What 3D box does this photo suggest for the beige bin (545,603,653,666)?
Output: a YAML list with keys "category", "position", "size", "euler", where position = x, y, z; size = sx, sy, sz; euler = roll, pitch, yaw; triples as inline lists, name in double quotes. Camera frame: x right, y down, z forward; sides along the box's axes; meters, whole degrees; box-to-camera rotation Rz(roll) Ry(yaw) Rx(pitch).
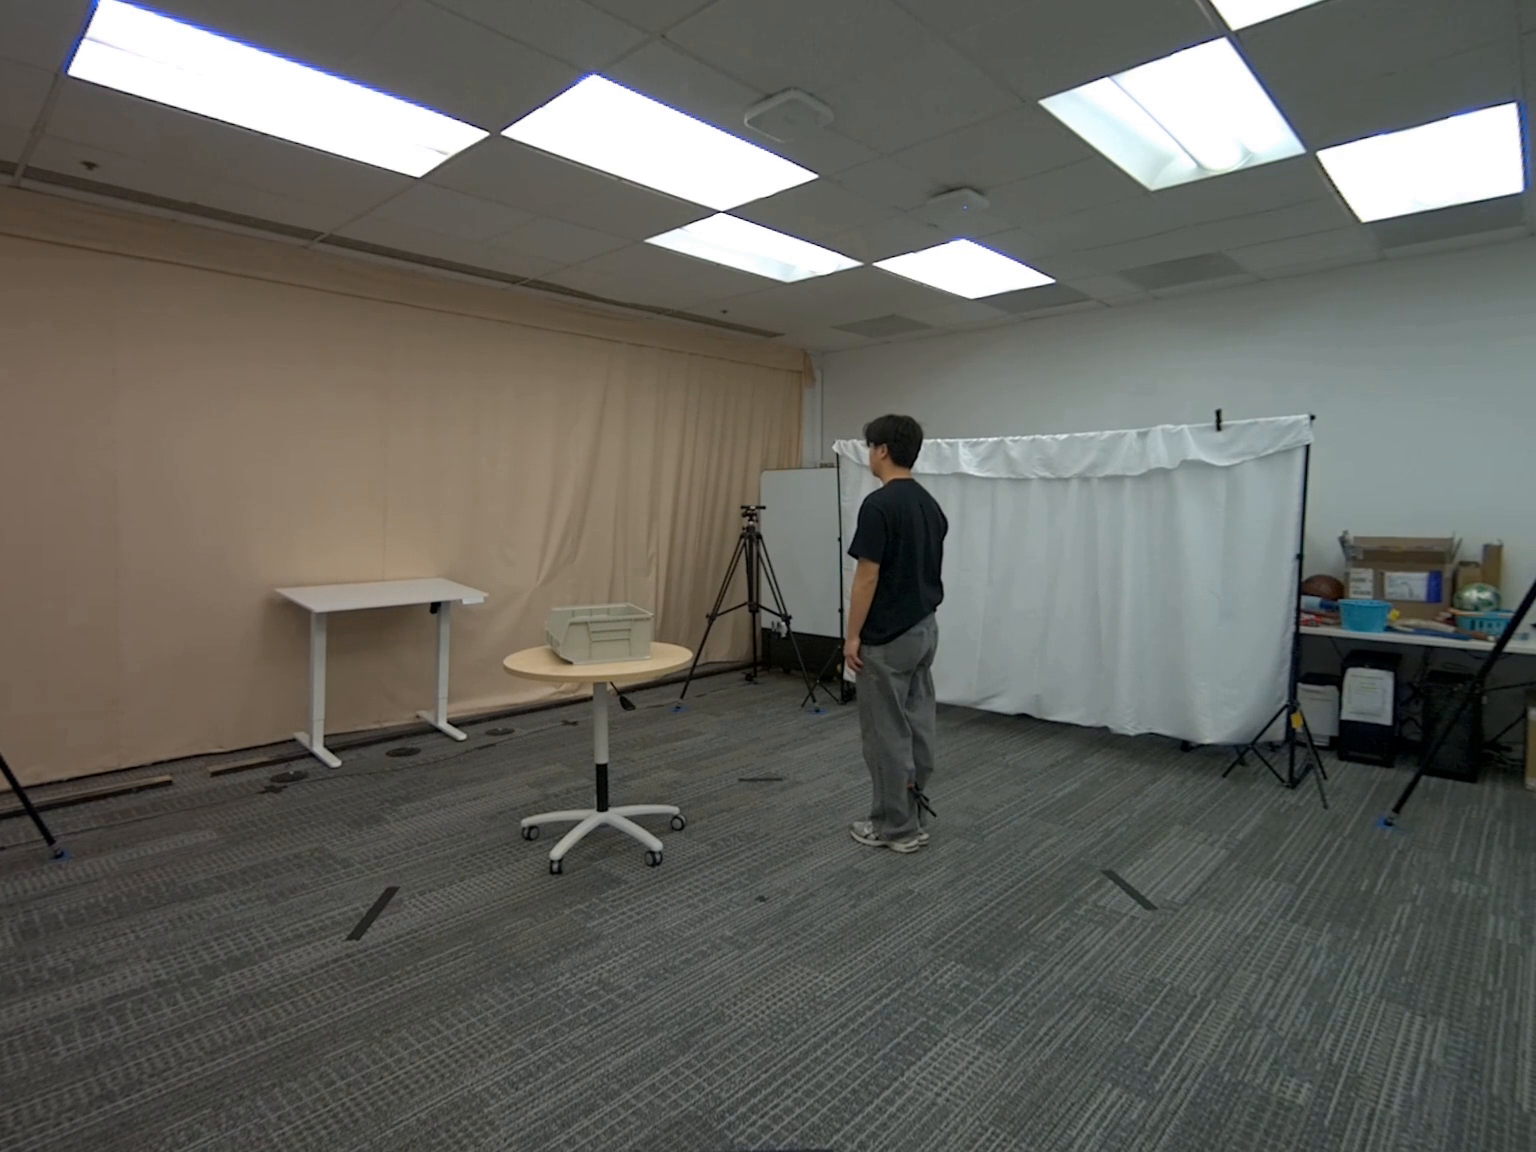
- category: "beige bin"
  position: [-0.713, 0.235, 3.500]
  size: [0.369, 0.188, 0.432]
  euler: [-1, 5, -22]
